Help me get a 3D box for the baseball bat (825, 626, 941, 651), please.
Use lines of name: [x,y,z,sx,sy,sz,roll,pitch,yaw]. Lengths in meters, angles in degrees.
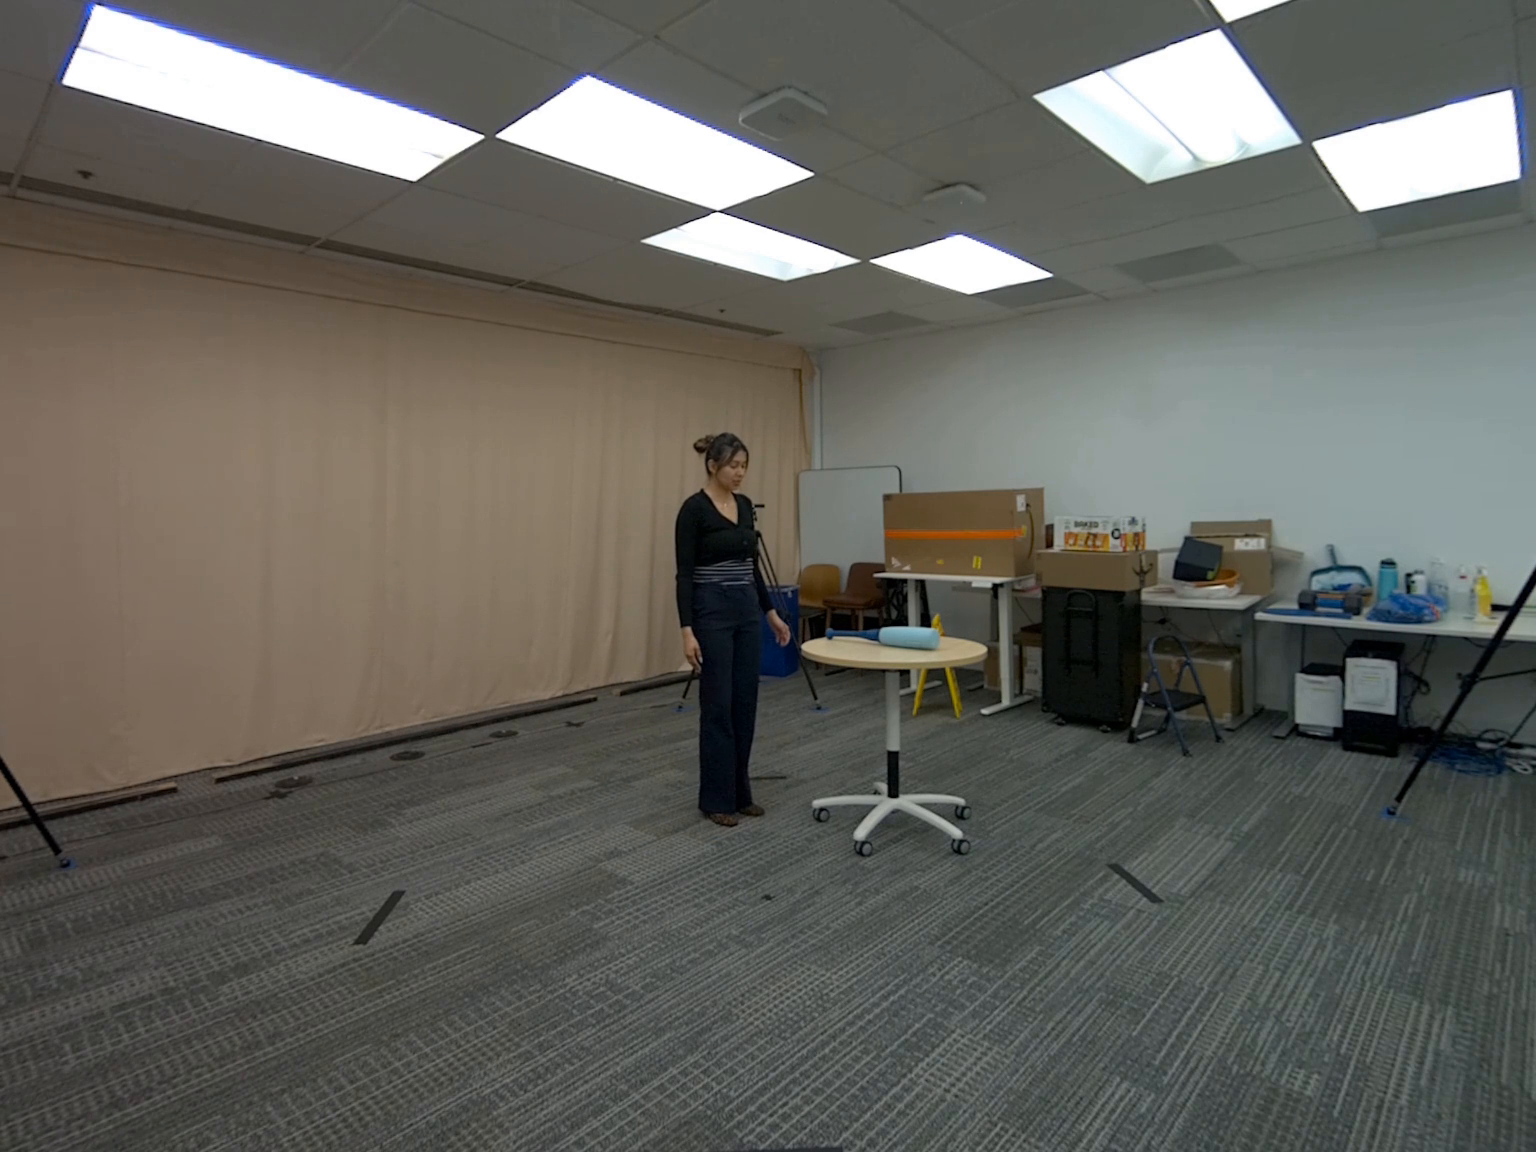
baseball bat: [0.479,0.257,3.618,0.560,0.089,0.086,0,3,43]
